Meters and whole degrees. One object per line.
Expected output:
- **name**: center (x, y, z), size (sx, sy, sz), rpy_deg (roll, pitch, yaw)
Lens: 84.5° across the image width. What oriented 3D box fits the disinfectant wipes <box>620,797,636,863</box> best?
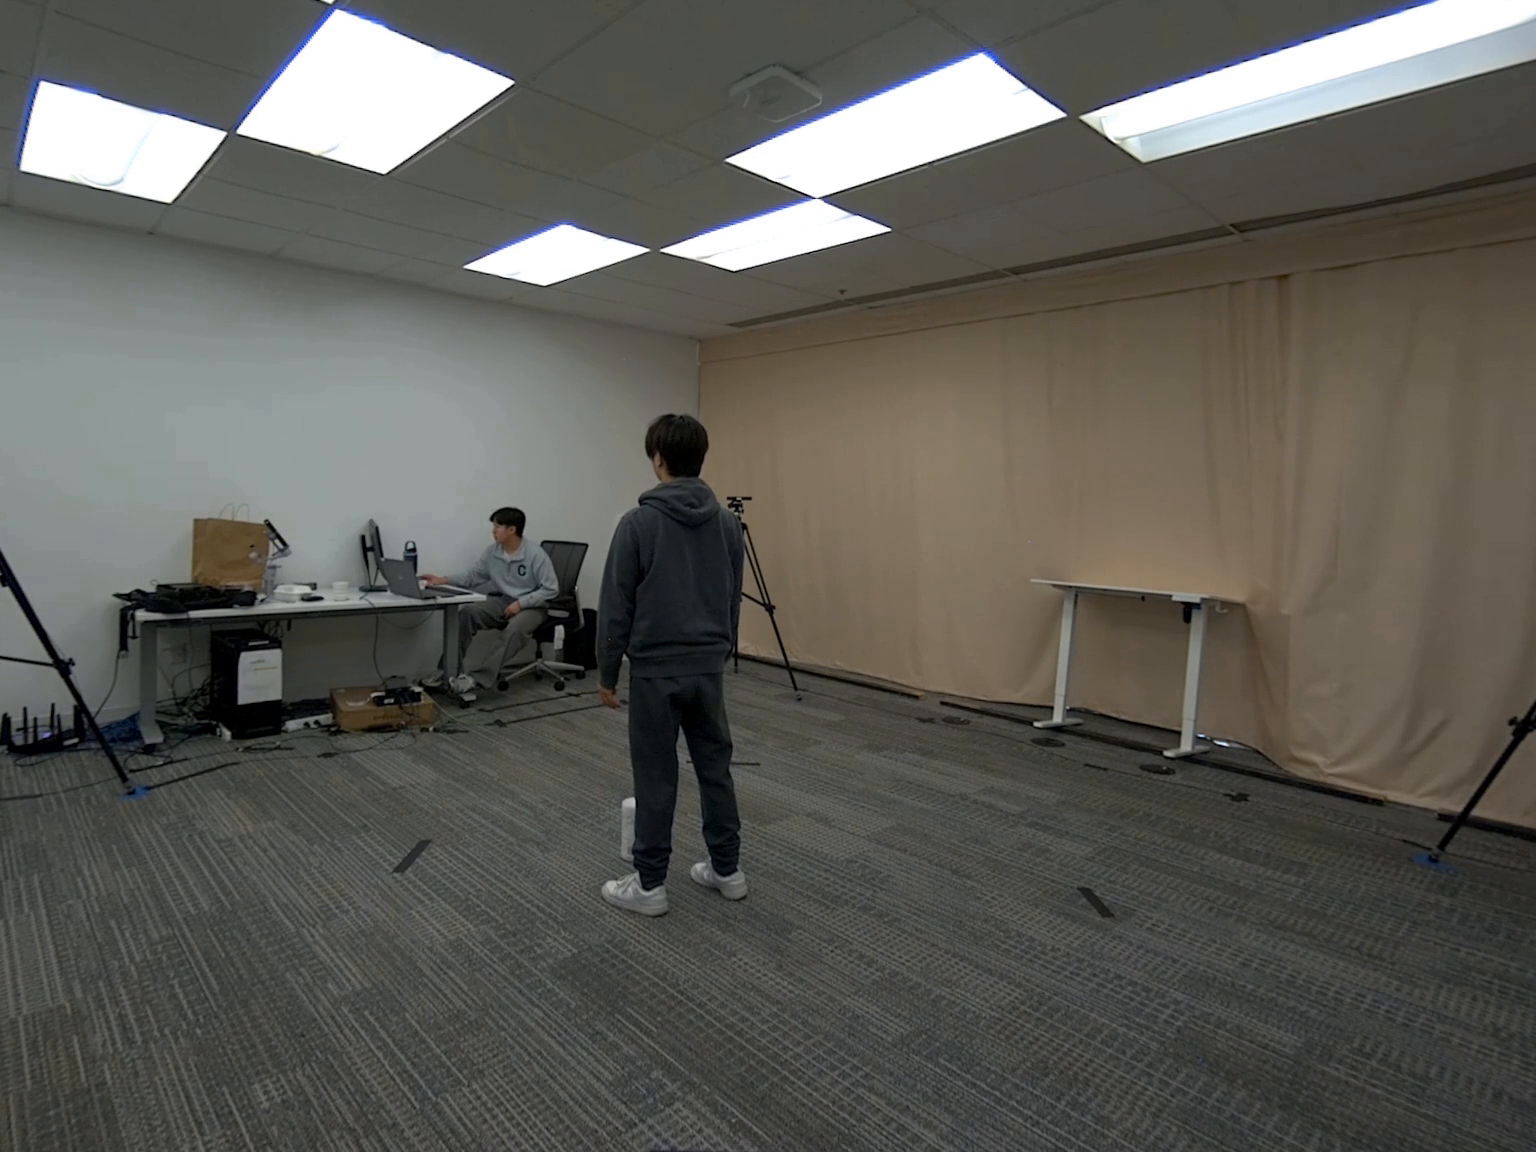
- **disinfectant wipes**: center (-0.521, 0.980, 3.242), size (0.118, 0.217, 0.118), rpy_deg (3, 3, -2)
